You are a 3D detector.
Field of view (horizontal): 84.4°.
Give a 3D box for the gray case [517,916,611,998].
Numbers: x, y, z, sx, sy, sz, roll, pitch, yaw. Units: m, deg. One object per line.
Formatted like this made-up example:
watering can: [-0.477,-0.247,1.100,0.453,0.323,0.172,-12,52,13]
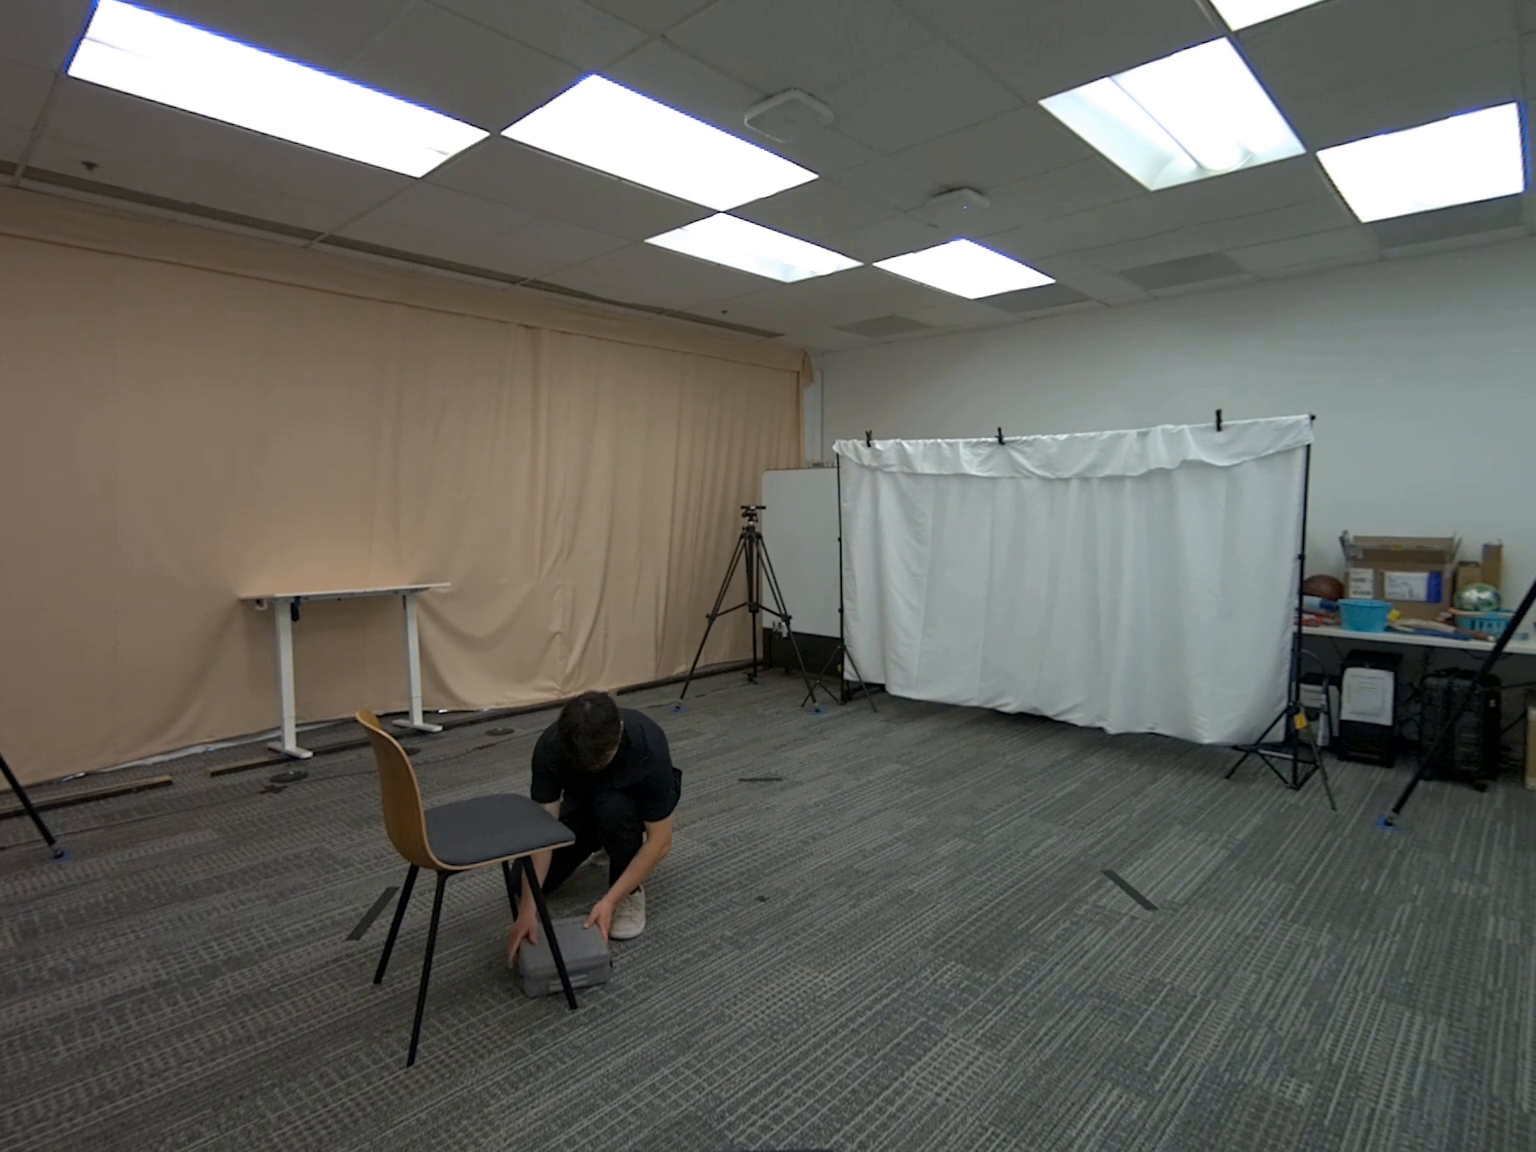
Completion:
gray case: [-0.613,1.127,2.517,0.252,0.104,0.266,-2,6,-19]
